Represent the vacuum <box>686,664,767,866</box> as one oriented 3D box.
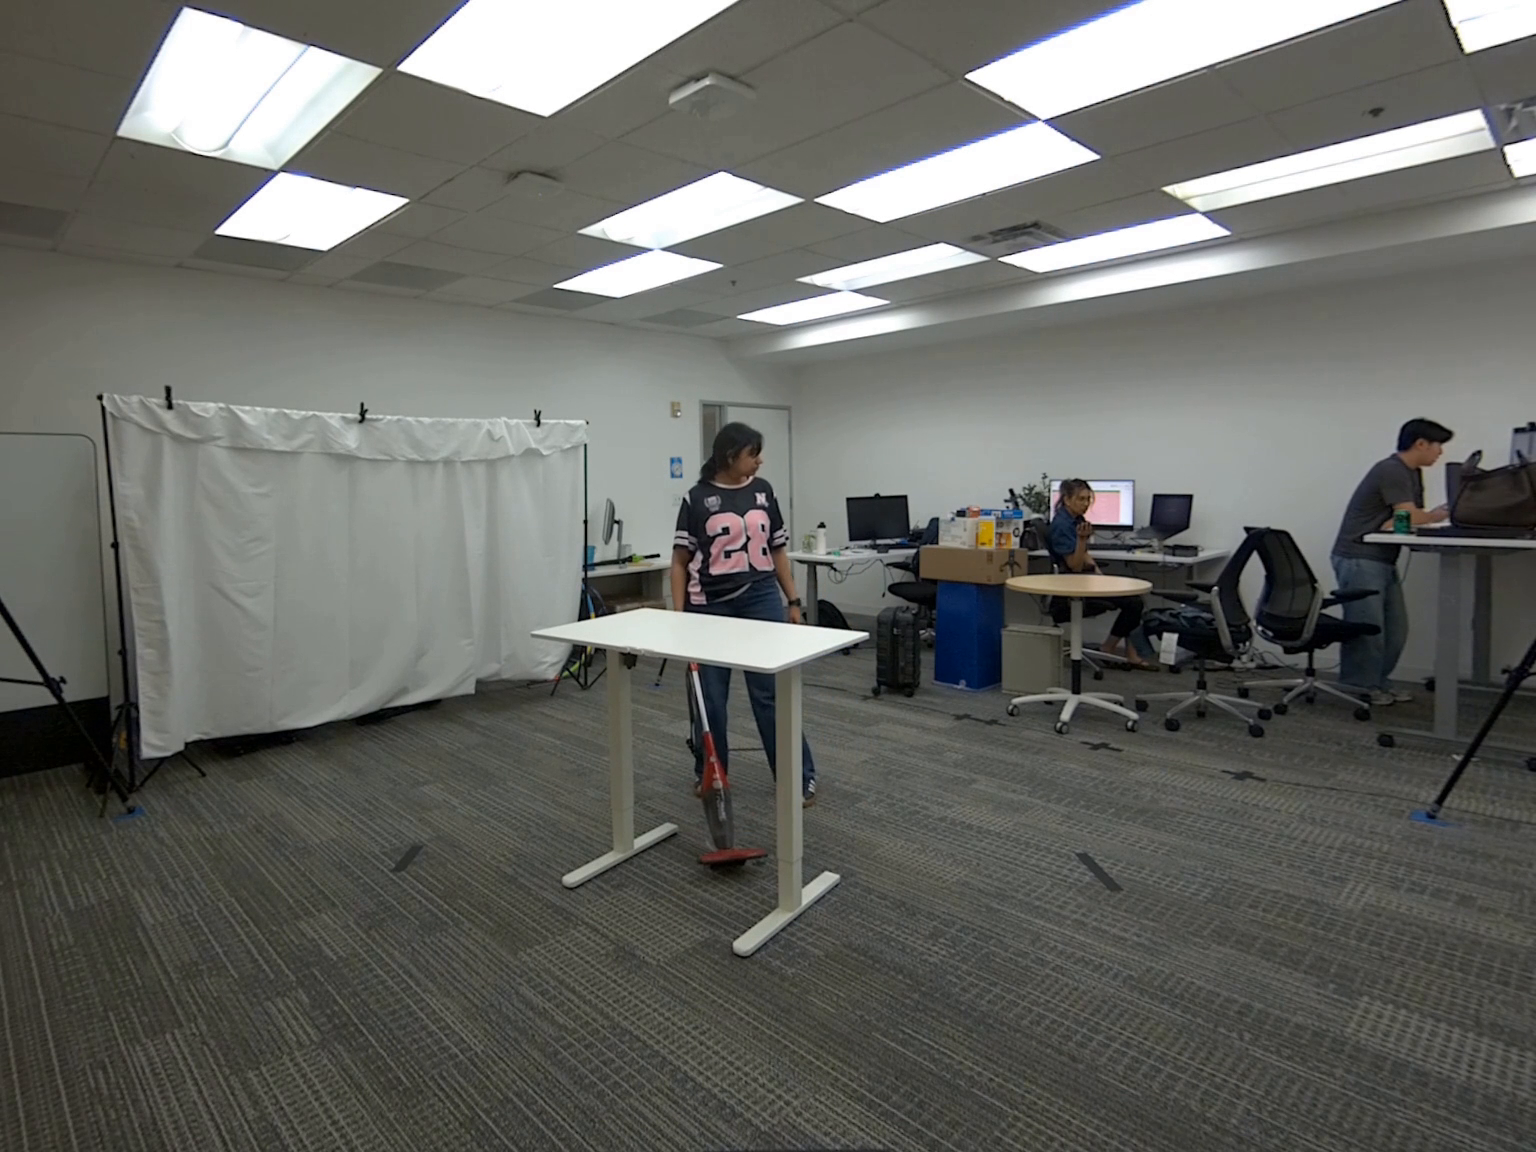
[{"bbox_3d":[-0.251,0.646,3.419,0.249,0.141,1.086,-4,46,-14],"label":"vacuum"}]
